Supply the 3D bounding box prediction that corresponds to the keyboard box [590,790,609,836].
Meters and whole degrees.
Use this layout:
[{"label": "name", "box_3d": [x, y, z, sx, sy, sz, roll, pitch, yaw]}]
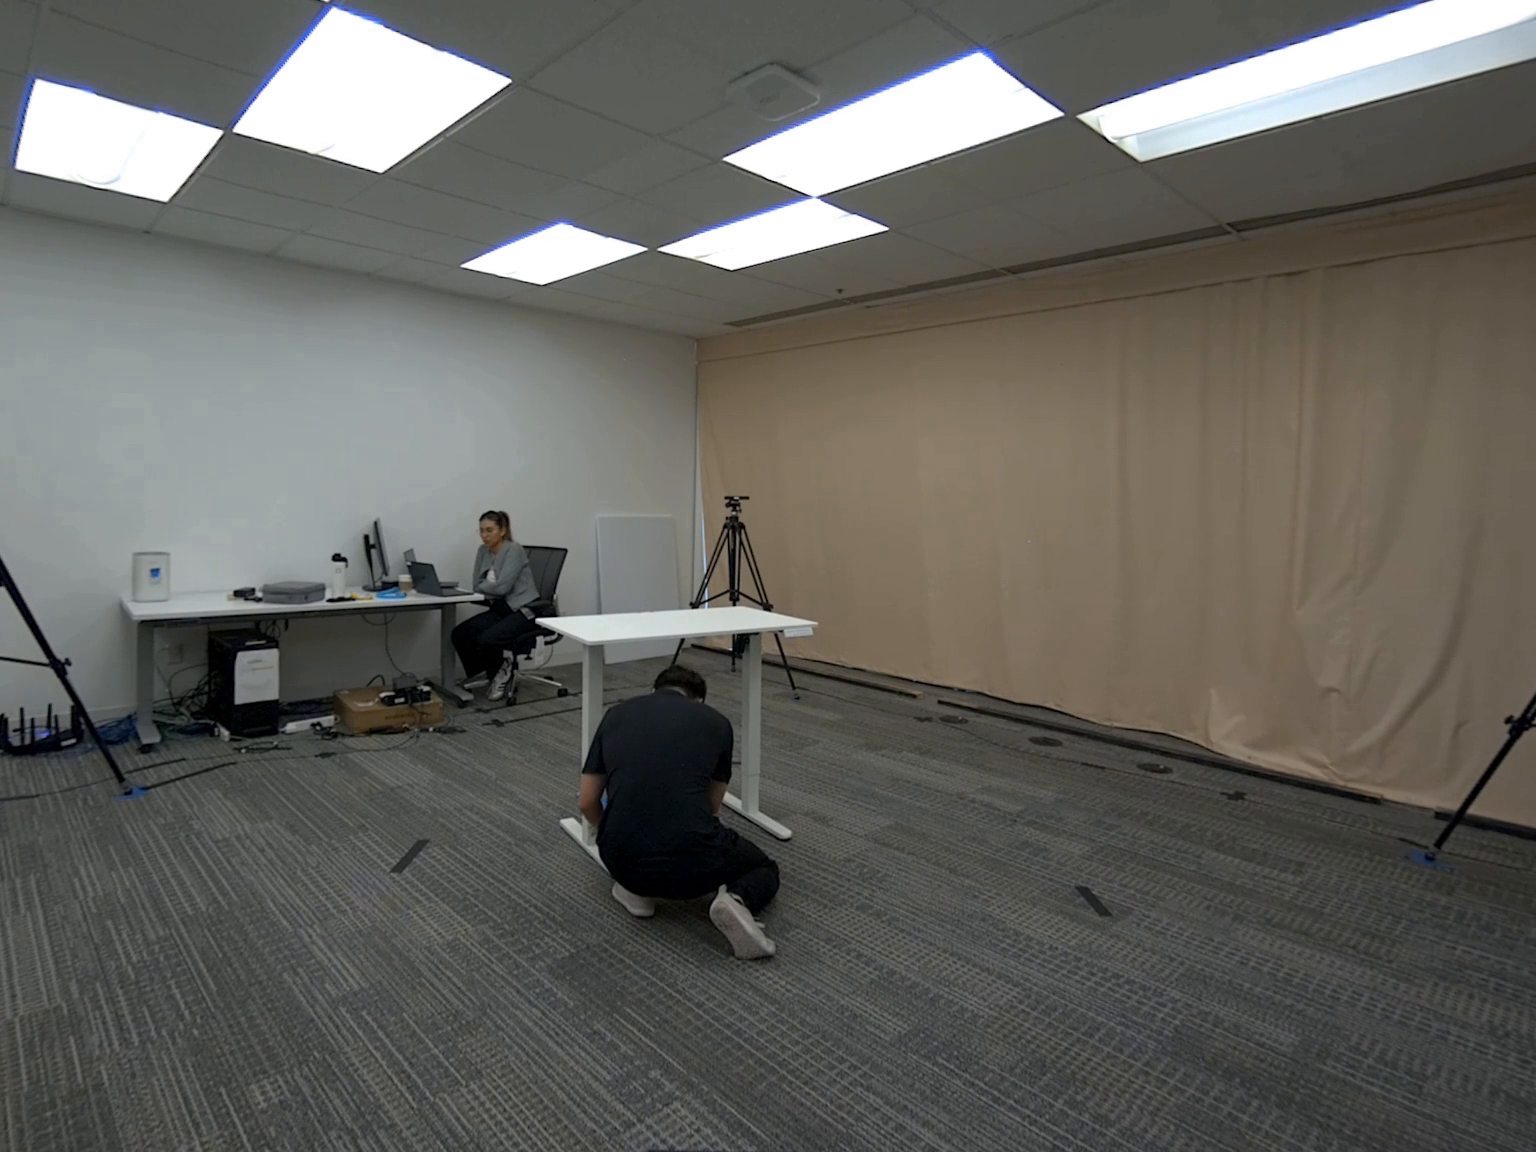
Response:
[{"label": "keyboard box", "box_3d": [-0.624, 0.992, 3.348, 0.059, 0.173, 0.448, -32, 23, -29]}]
